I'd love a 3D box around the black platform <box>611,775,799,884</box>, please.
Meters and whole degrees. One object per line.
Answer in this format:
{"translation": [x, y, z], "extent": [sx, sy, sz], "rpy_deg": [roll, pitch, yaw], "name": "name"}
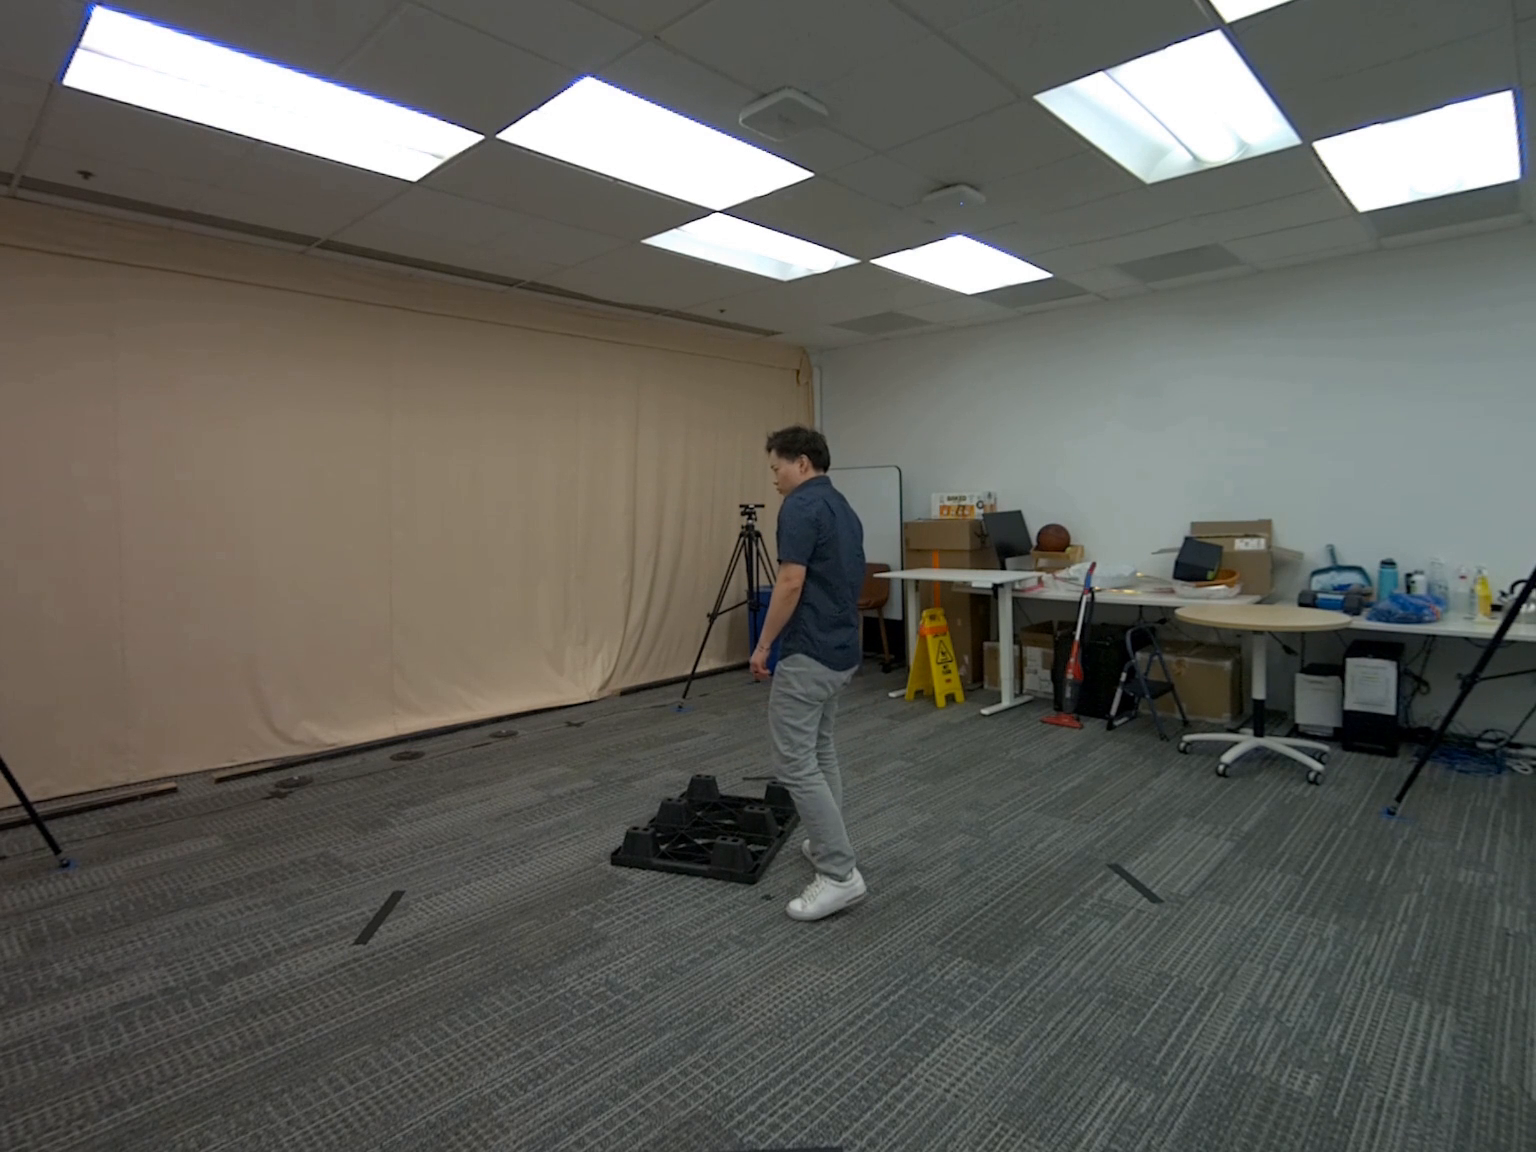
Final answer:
{"translation": [-0.225, 1.030, 3.553], "extent": [0.617, 0.143, 0.792], "rpy_deg": [1, 5, 18], "name": "black platform"}
